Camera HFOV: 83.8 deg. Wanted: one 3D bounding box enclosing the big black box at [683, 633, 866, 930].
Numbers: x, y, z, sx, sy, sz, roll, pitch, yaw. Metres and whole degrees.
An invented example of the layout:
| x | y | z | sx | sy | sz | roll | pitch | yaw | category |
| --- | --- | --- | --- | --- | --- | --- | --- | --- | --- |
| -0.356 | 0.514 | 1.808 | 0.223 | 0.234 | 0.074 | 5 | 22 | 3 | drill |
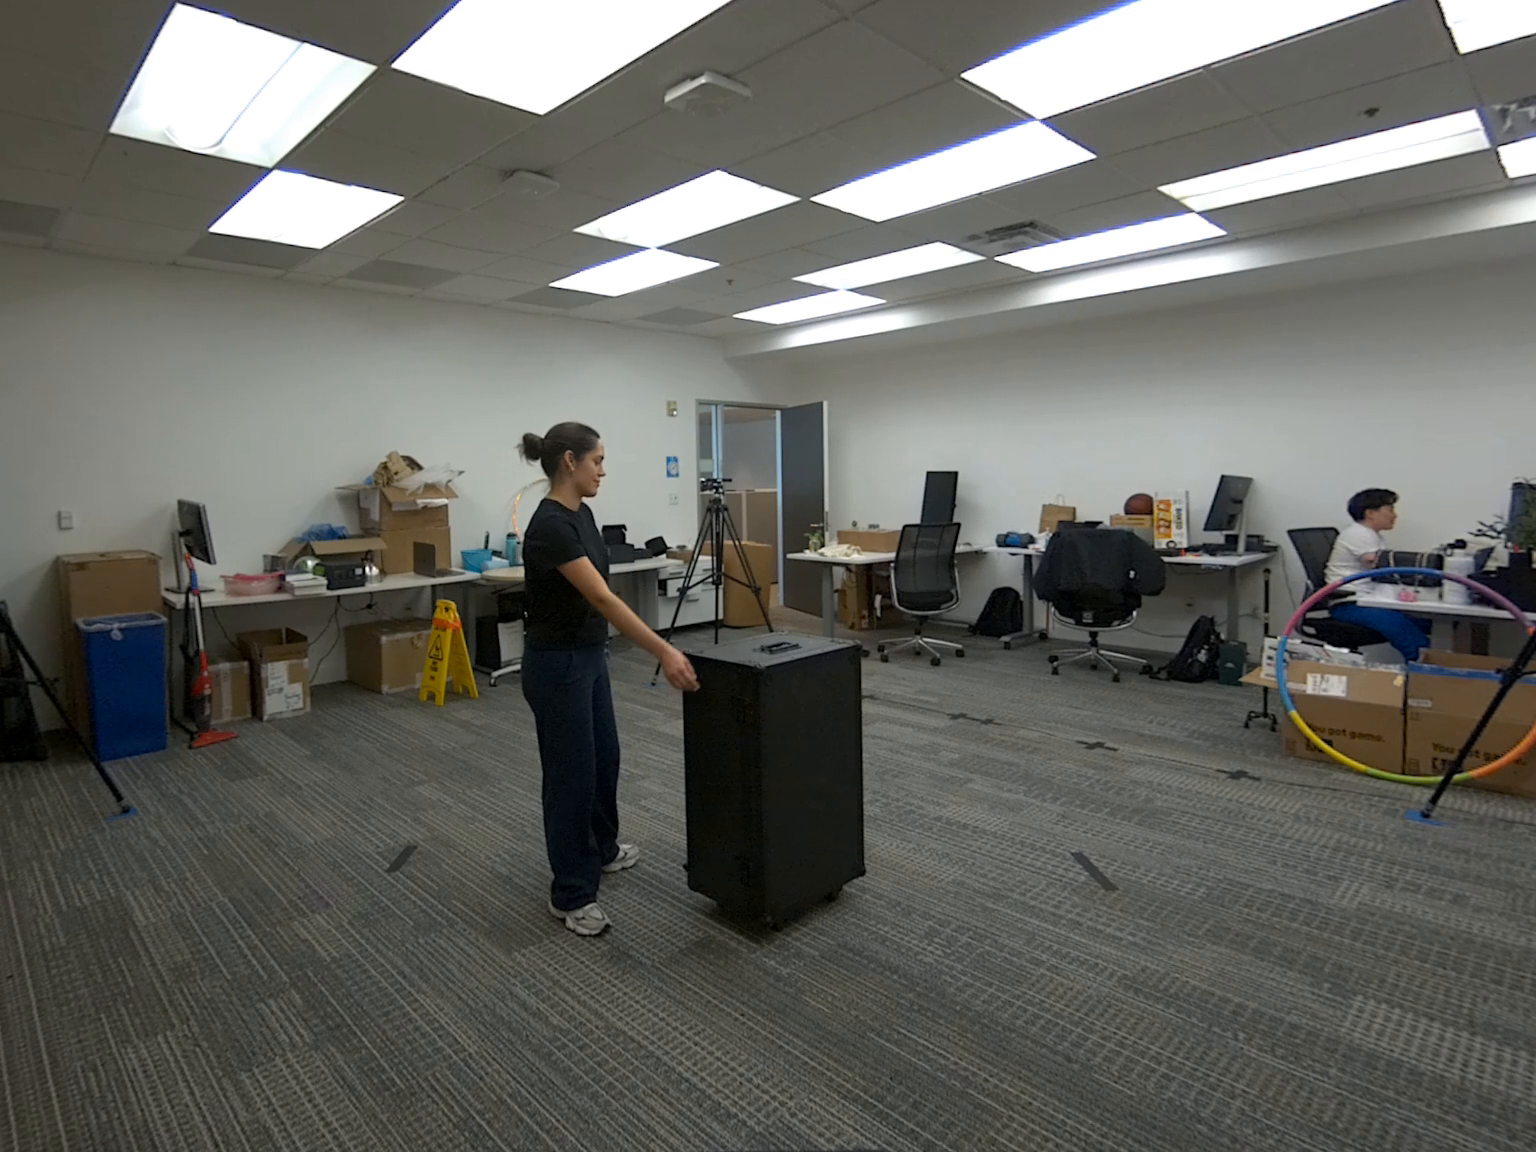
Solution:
| x | y | z | sx | sy | sz | roll | pitch | yaw | category |
| --- | --- | --- | --- | --- | --- | --- | --- | --- | --- |
| 0.012 | 0.650 | 2.801 | 0.408 | 0.858 | 0.507 | 2 | 5 | 45 | big black box |
